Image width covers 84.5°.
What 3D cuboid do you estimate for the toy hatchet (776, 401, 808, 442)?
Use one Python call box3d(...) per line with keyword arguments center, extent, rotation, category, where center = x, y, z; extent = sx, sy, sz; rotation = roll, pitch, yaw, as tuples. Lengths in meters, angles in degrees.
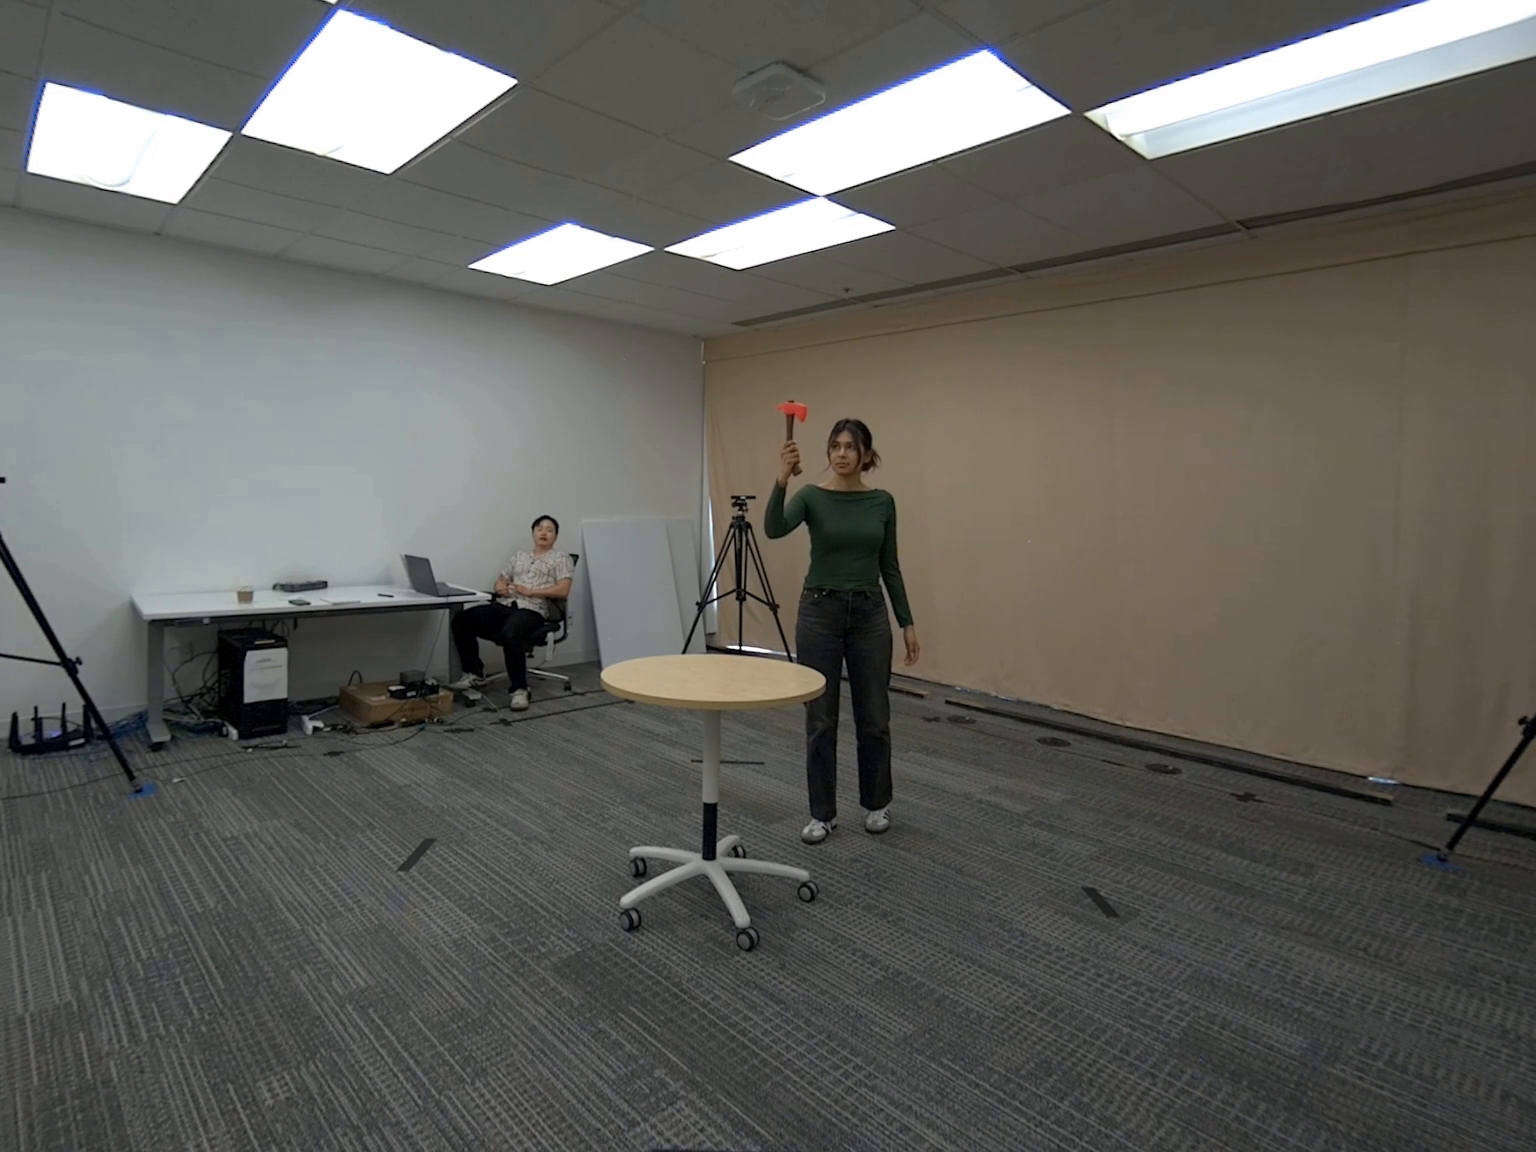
box3d(center=(0.103, -0.509, 3.047), extent=(0.133, 0.271, 0.029), rotation=(-15, -3, 31), category="toy hatchet")
